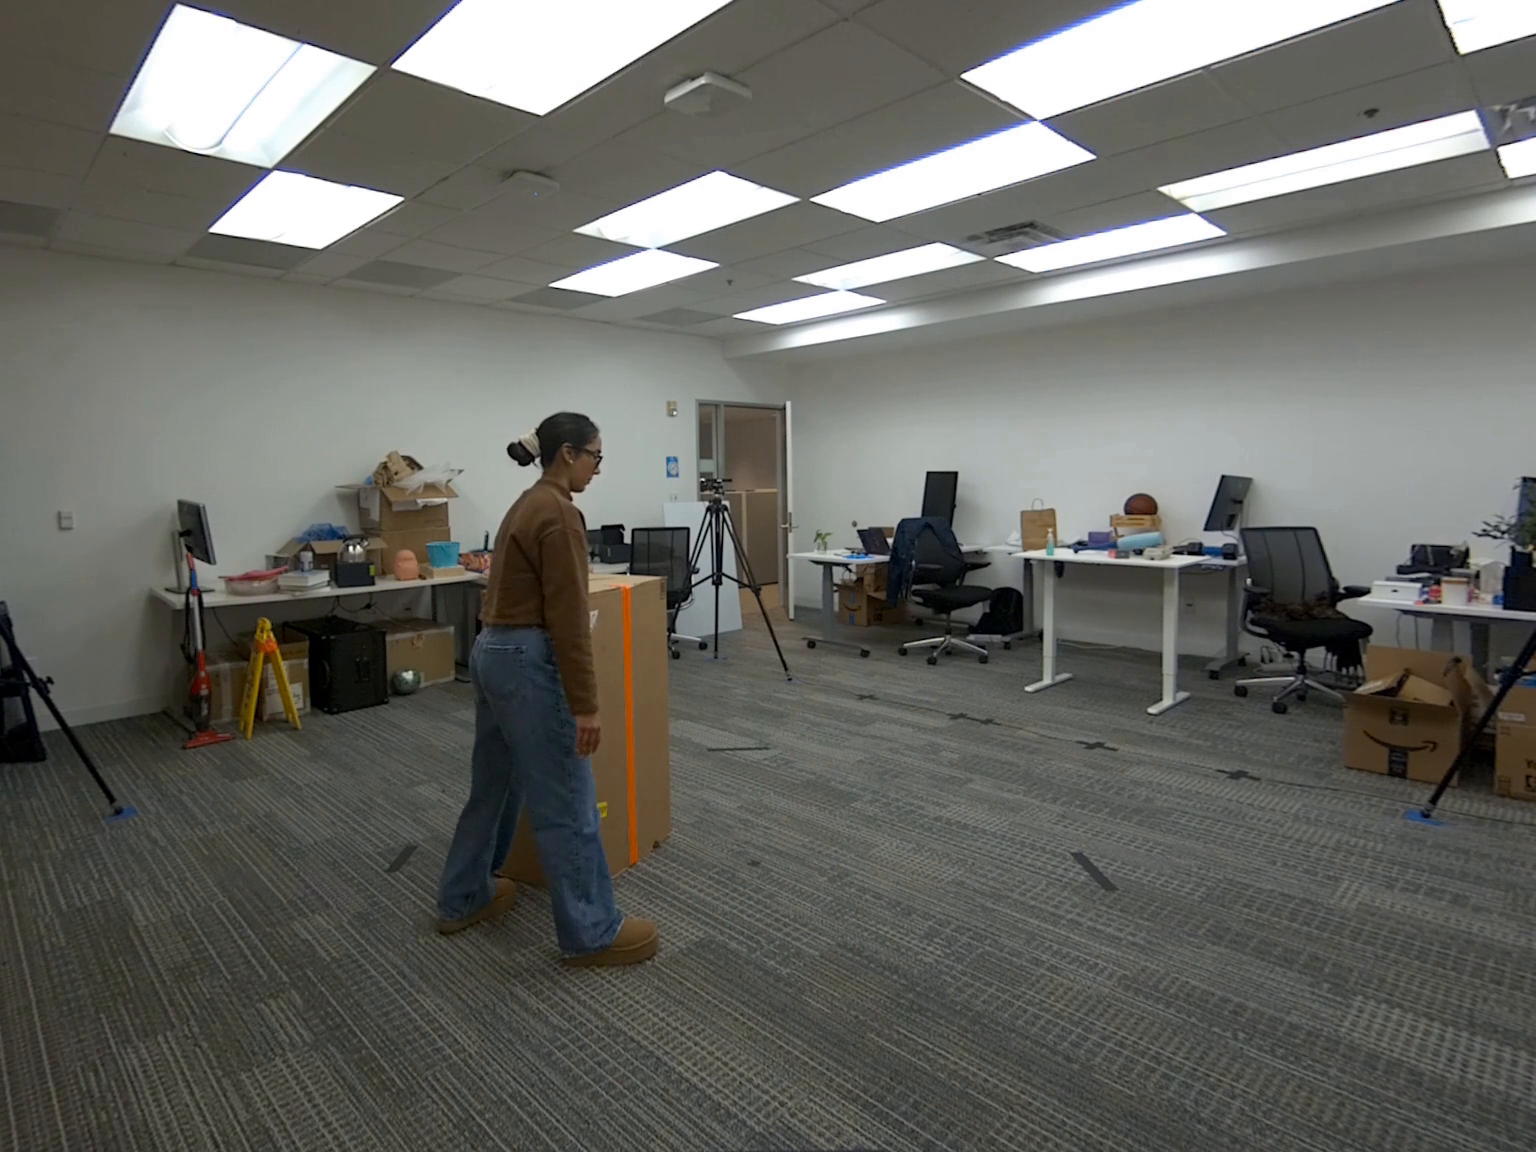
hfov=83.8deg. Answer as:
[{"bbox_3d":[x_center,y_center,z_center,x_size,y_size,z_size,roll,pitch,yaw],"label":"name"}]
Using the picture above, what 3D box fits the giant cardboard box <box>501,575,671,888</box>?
[{"bbox_3d":[-0.692,0.539,3.185,0.436,1.022,0.566,1,5,26],"label":"giant cardboard box"}]
